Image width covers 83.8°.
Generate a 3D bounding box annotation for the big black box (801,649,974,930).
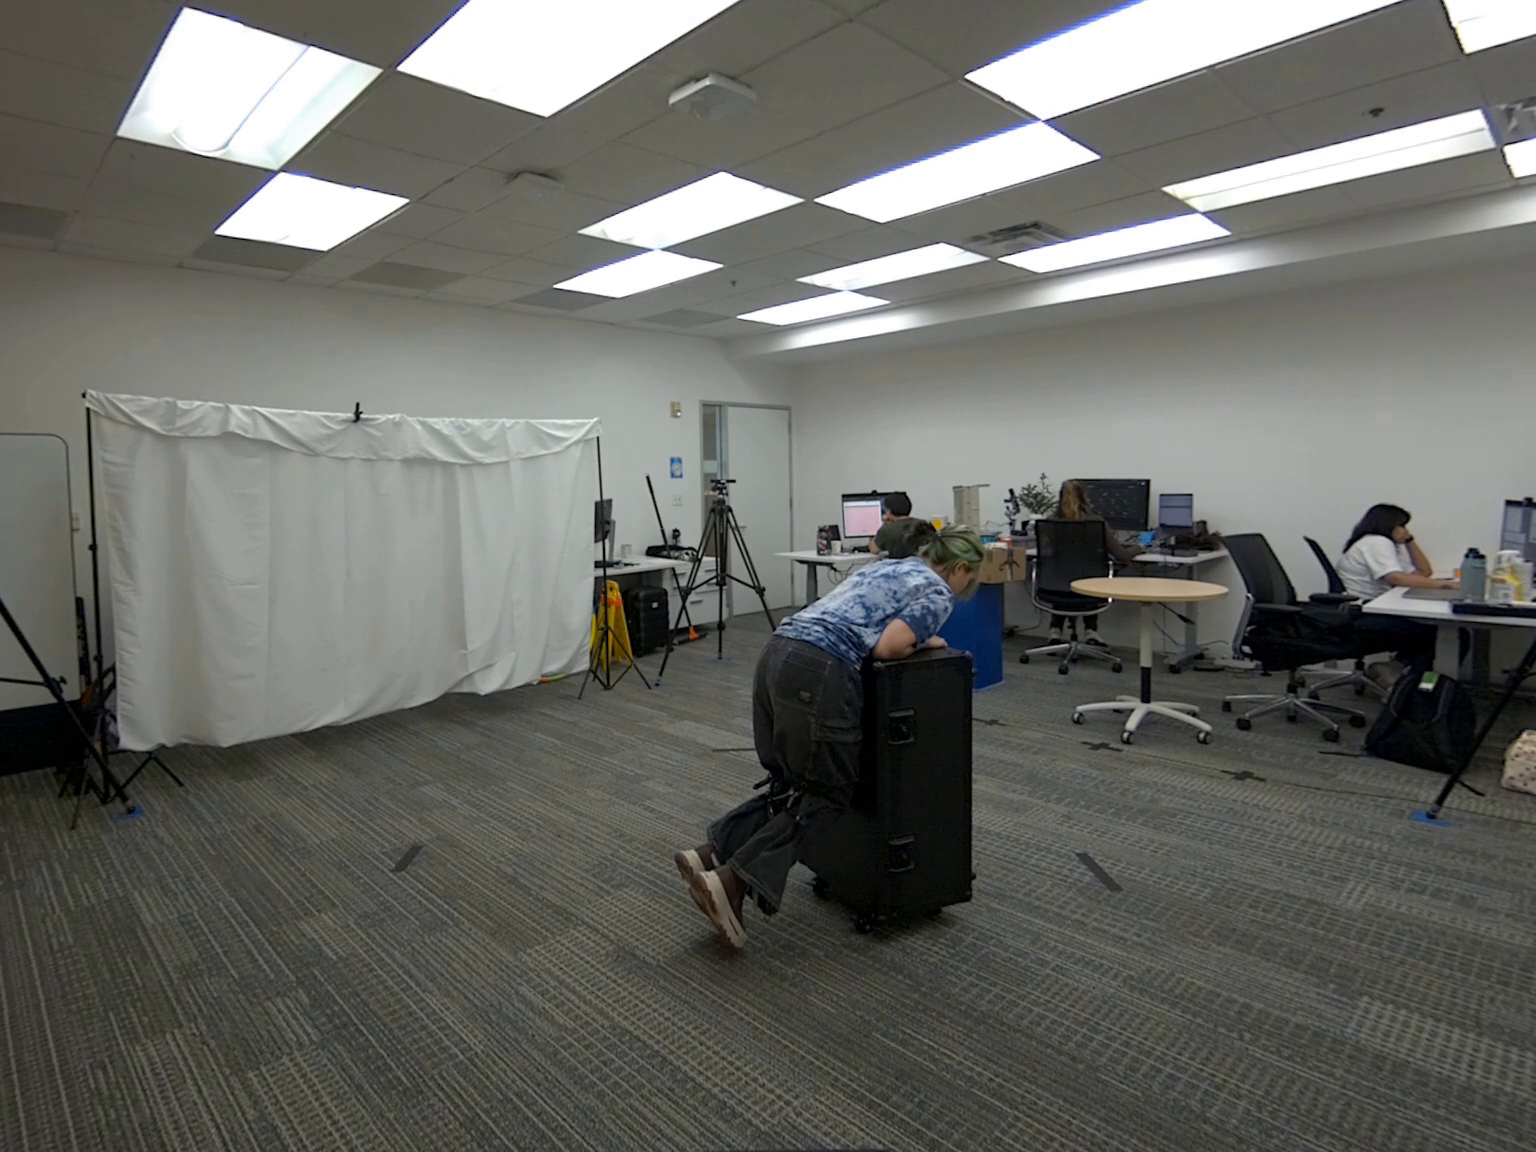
[{"bbox_3d":[0.386,0.601,2.798,0.388,0.858,0.534,-2,5,-26],"label":"big black box"}]
